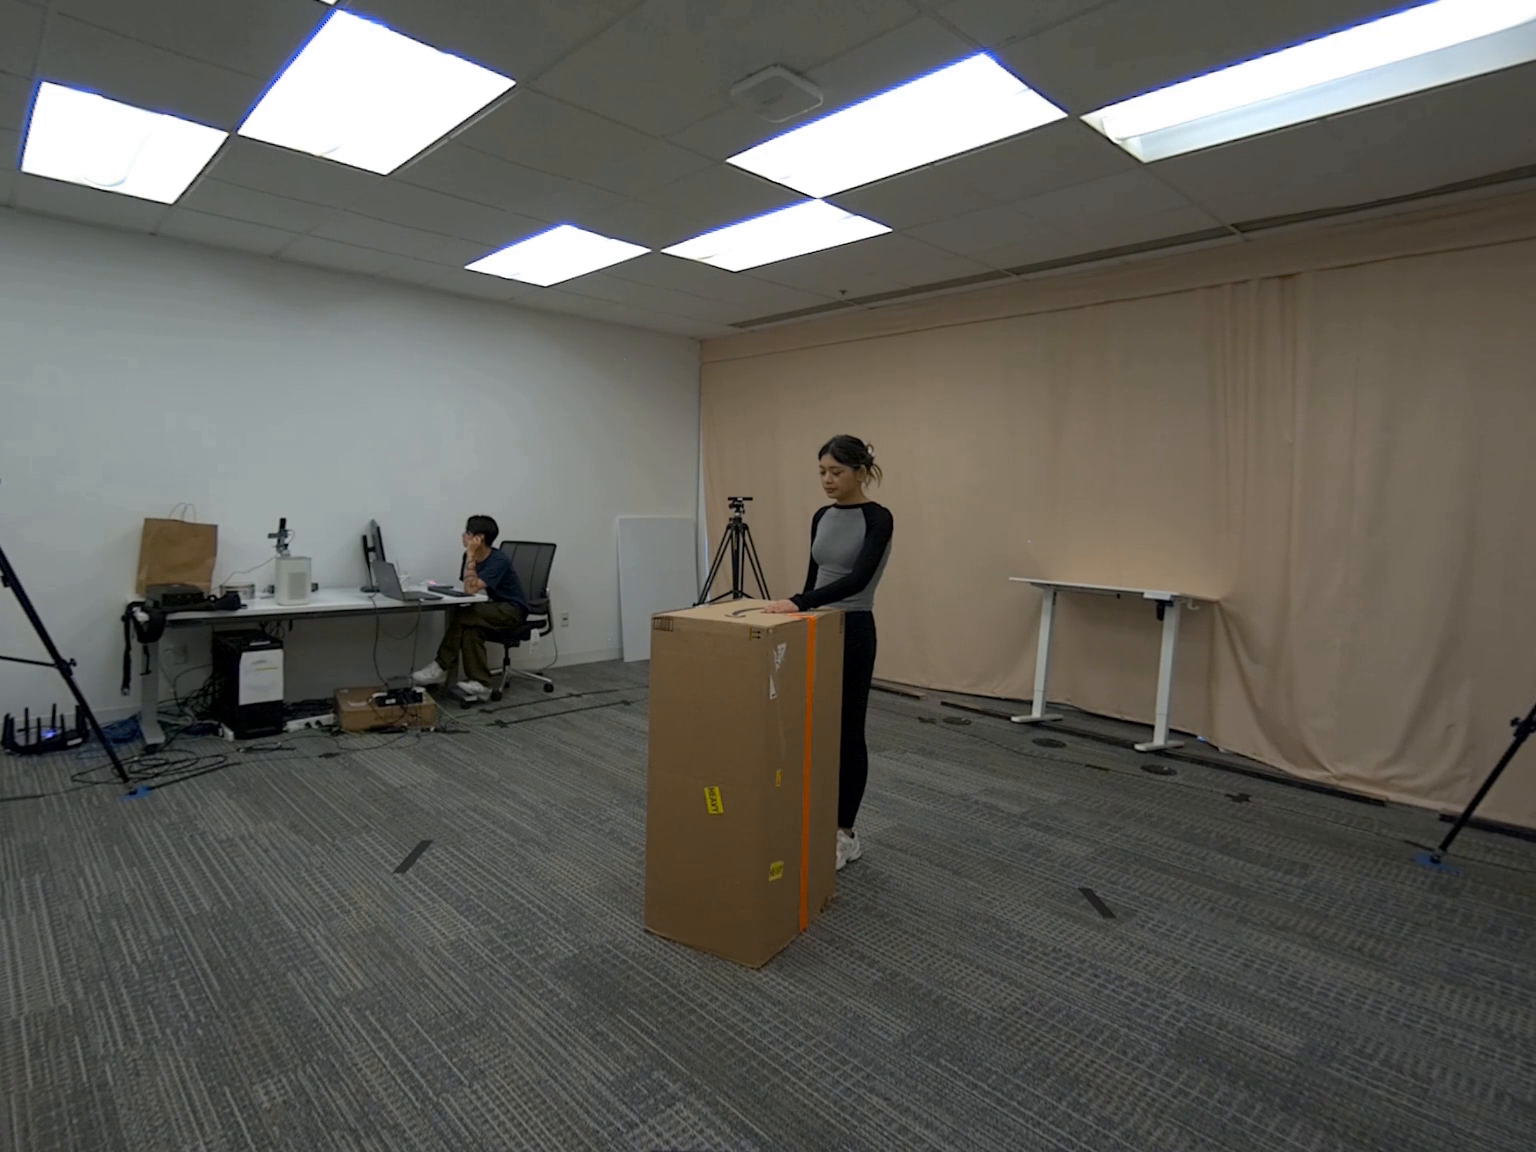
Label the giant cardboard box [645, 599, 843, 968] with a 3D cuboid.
[{"bbox_3d":[-0.069,0.631,2.804,0.456,1.025,0.573,2,3,29],"label":"giant cardboard box"}]
